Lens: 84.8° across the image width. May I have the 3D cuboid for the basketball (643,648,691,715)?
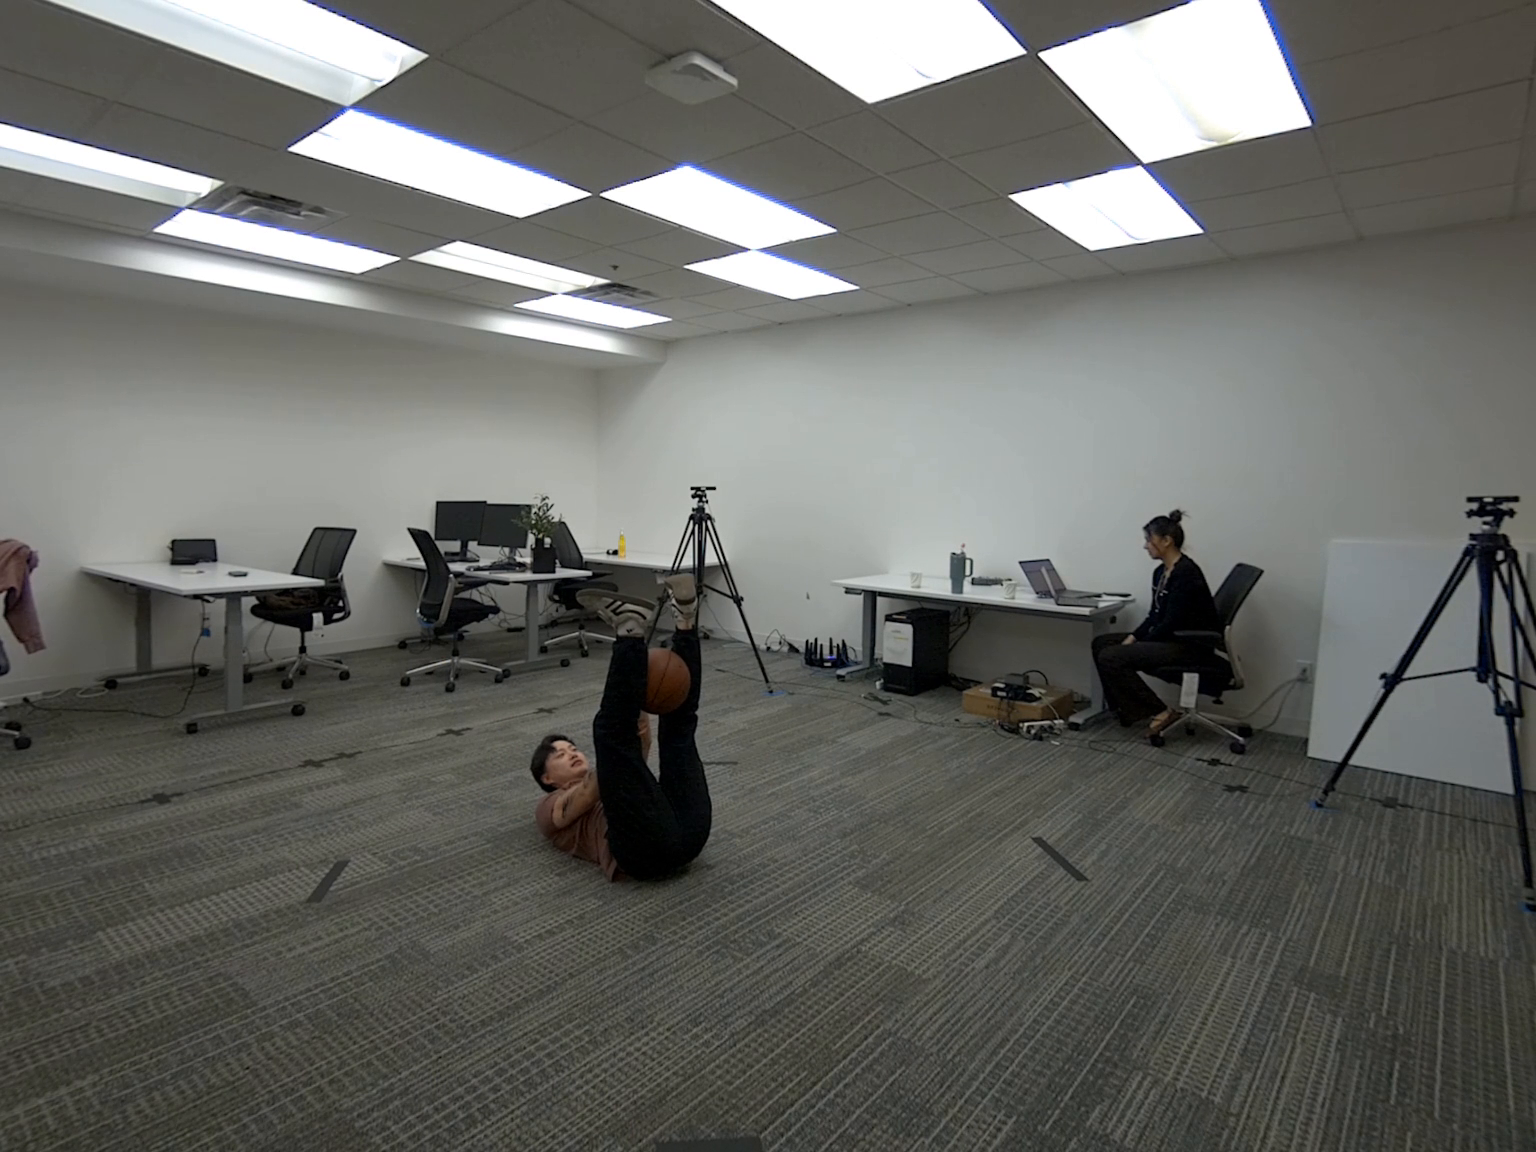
[{"bbox_3d":[-0.404,0.380,3.067,0.235,0.235,0.237,1,5,-2],"label":"basketball"}]
